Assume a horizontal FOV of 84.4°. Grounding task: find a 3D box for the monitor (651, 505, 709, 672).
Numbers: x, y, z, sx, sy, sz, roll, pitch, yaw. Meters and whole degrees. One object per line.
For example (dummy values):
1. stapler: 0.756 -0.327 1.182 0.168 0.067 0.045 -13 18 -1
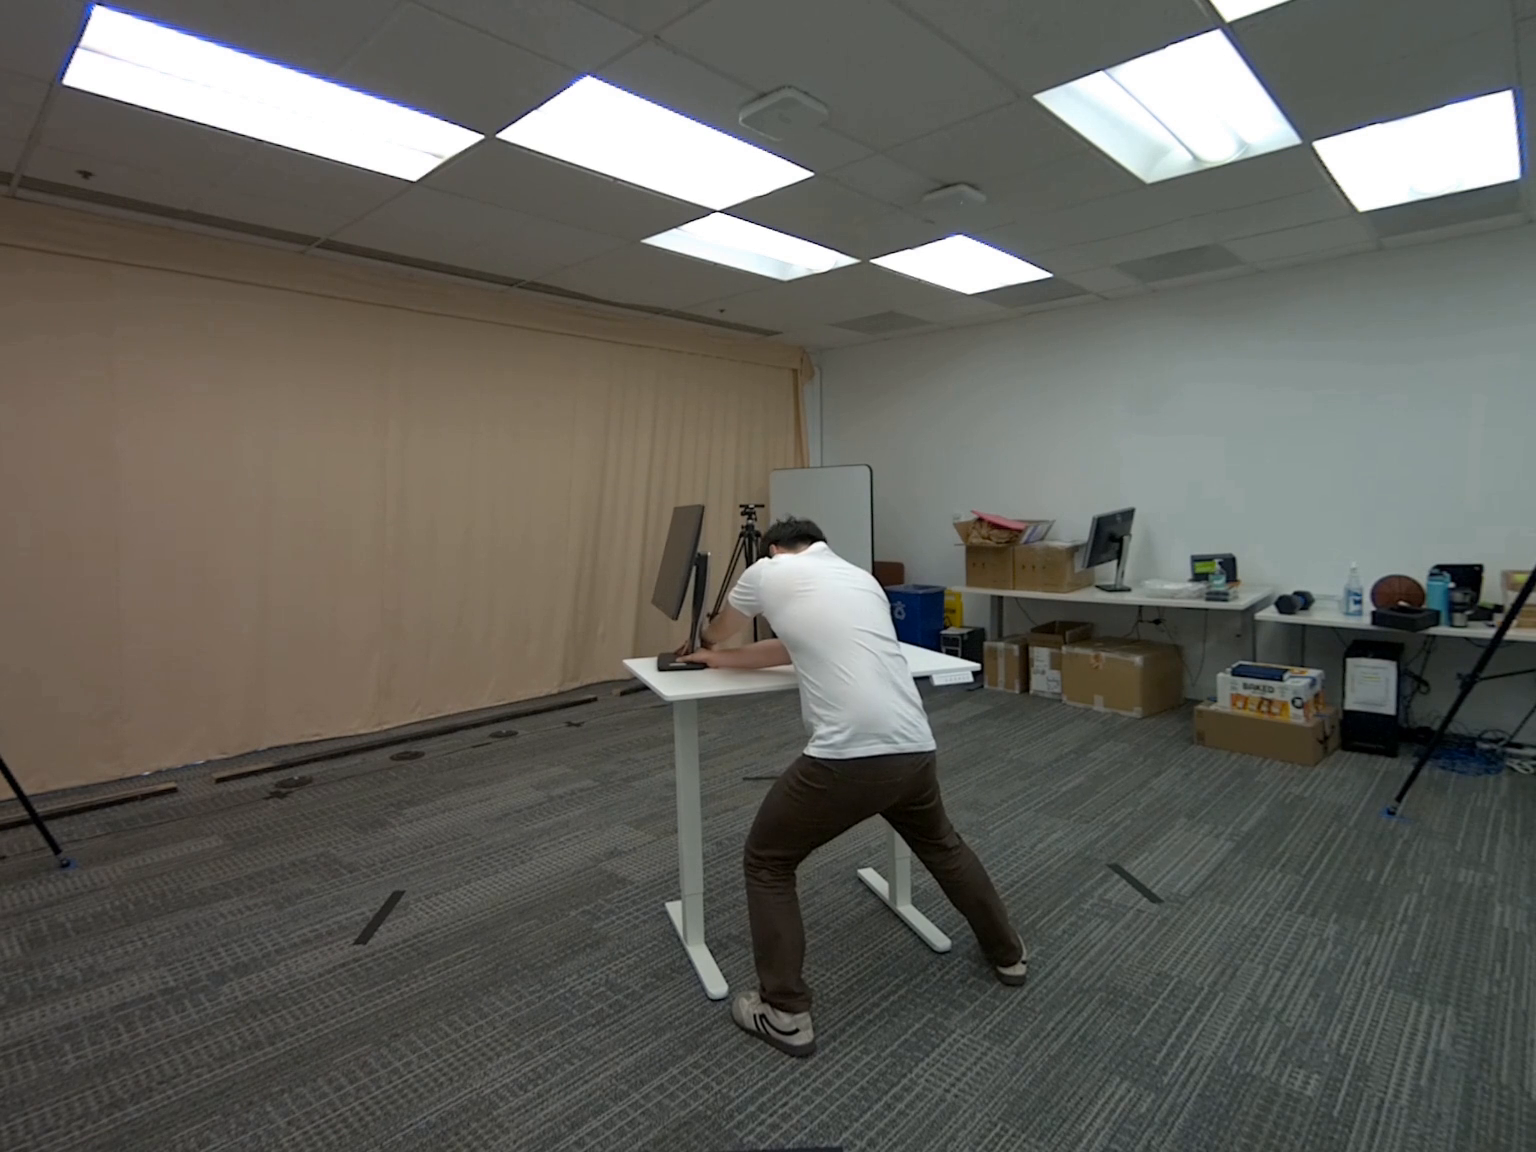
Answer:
1. monitor: -0.267 0.031 2.747 0.184 0.522 0.549 0 3 -18
